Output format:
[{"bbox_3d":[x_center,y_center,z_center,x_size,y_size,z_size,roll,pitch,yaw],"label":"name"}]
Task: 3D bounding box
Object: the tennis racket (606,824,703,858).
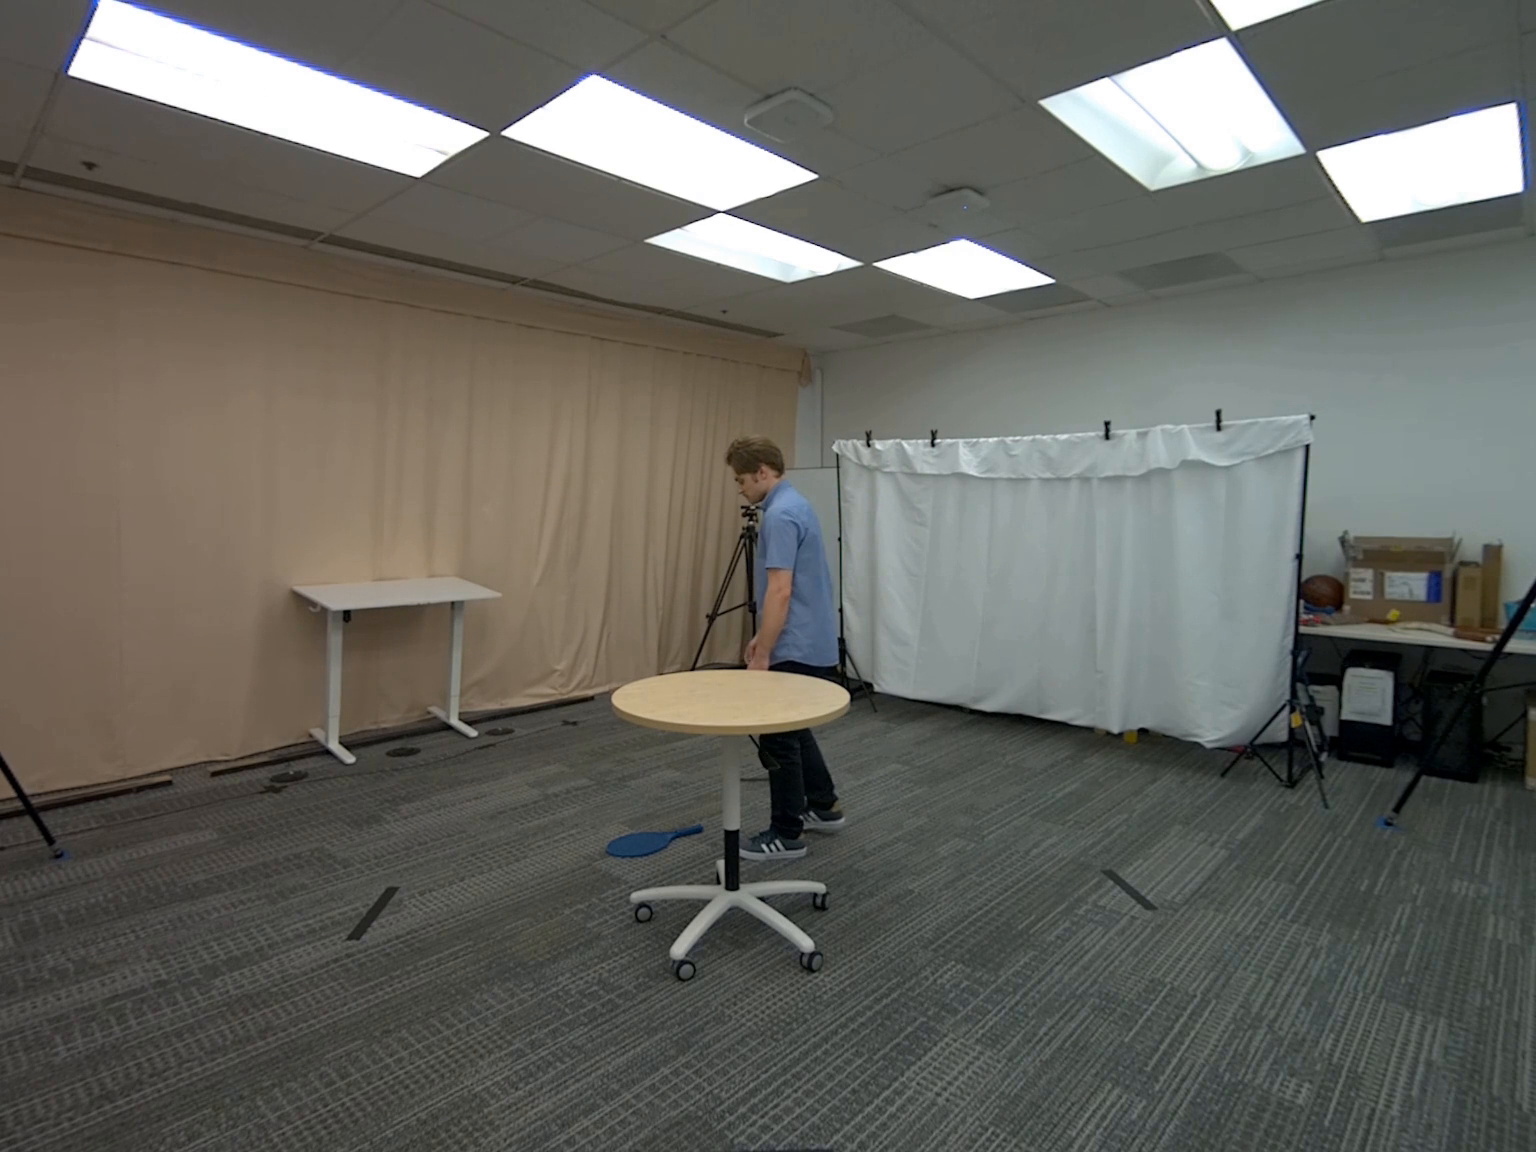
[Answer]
[{"bbox_3d":[-0.469,1.092,3.491,0.421,0.031,0.220,-5,6,-33],"label":"tennis racket"}]
